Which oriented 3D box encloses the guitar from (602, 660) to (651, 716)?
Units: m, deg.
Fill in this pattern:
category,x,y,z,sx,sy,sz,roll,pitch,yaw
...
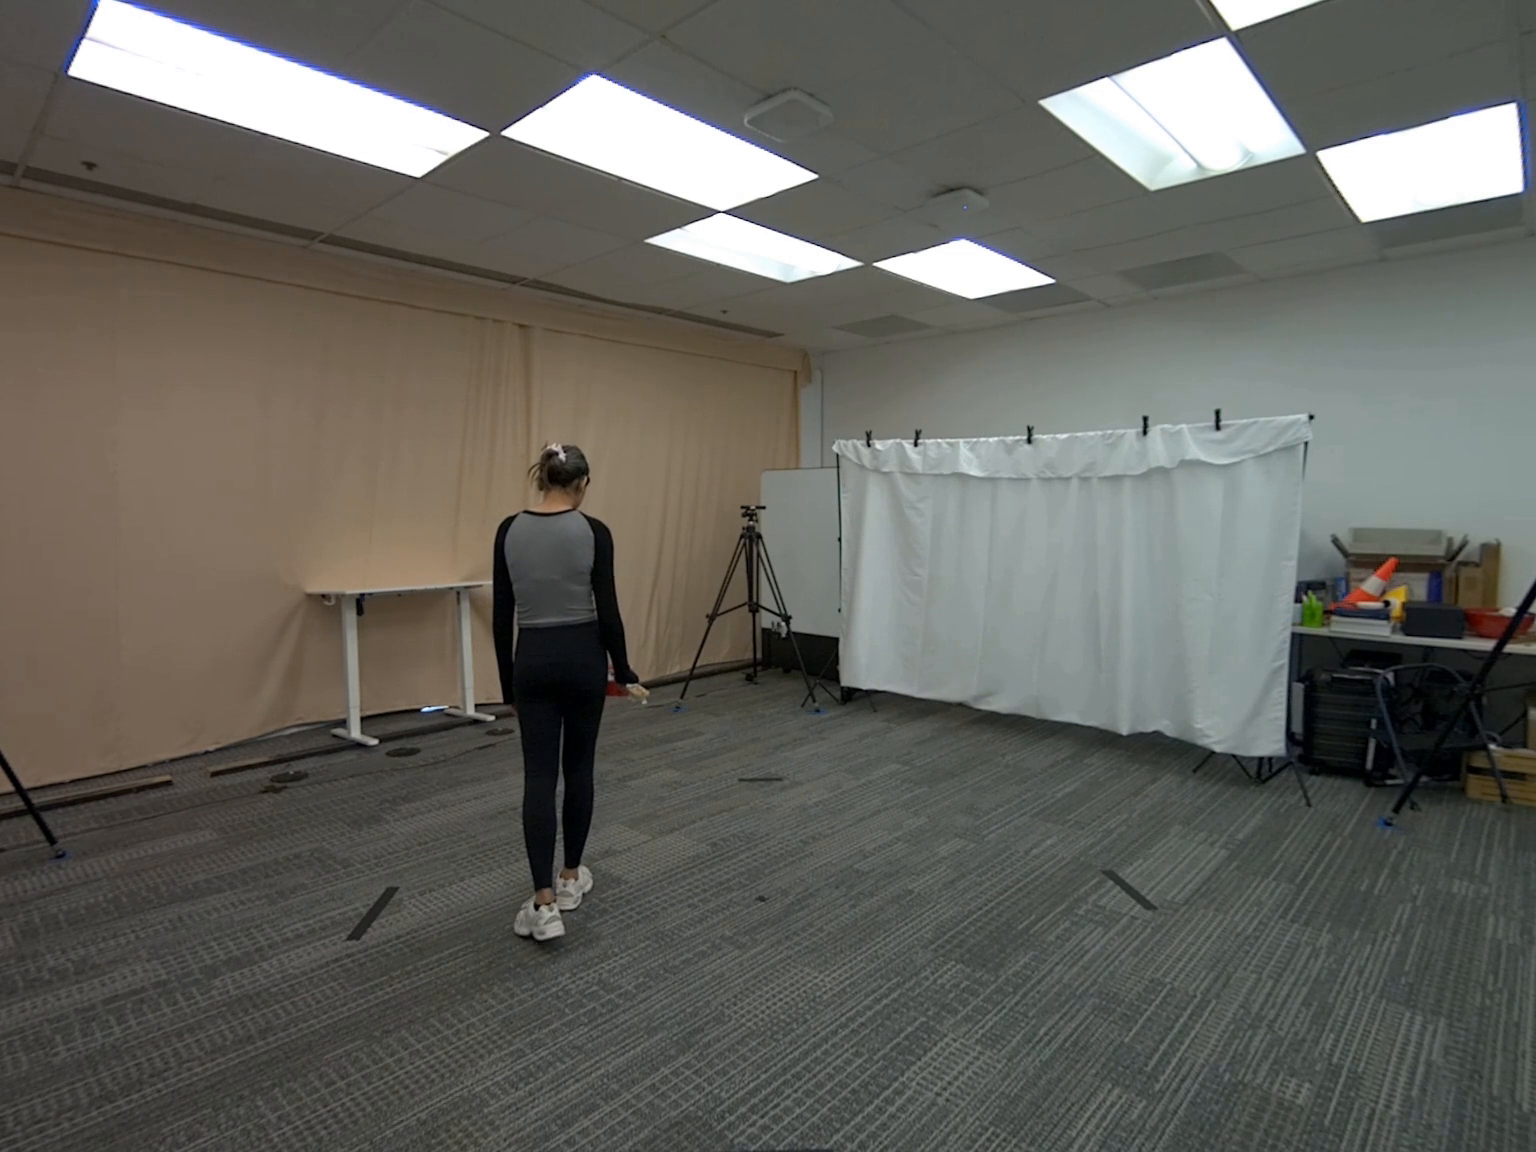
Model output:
category,x,y,z,sx,sy,sz,roll,pitch,yaw
guitar,-0.563,0.402,3.099,0.190,0.070,0.507,-3,7,-16
